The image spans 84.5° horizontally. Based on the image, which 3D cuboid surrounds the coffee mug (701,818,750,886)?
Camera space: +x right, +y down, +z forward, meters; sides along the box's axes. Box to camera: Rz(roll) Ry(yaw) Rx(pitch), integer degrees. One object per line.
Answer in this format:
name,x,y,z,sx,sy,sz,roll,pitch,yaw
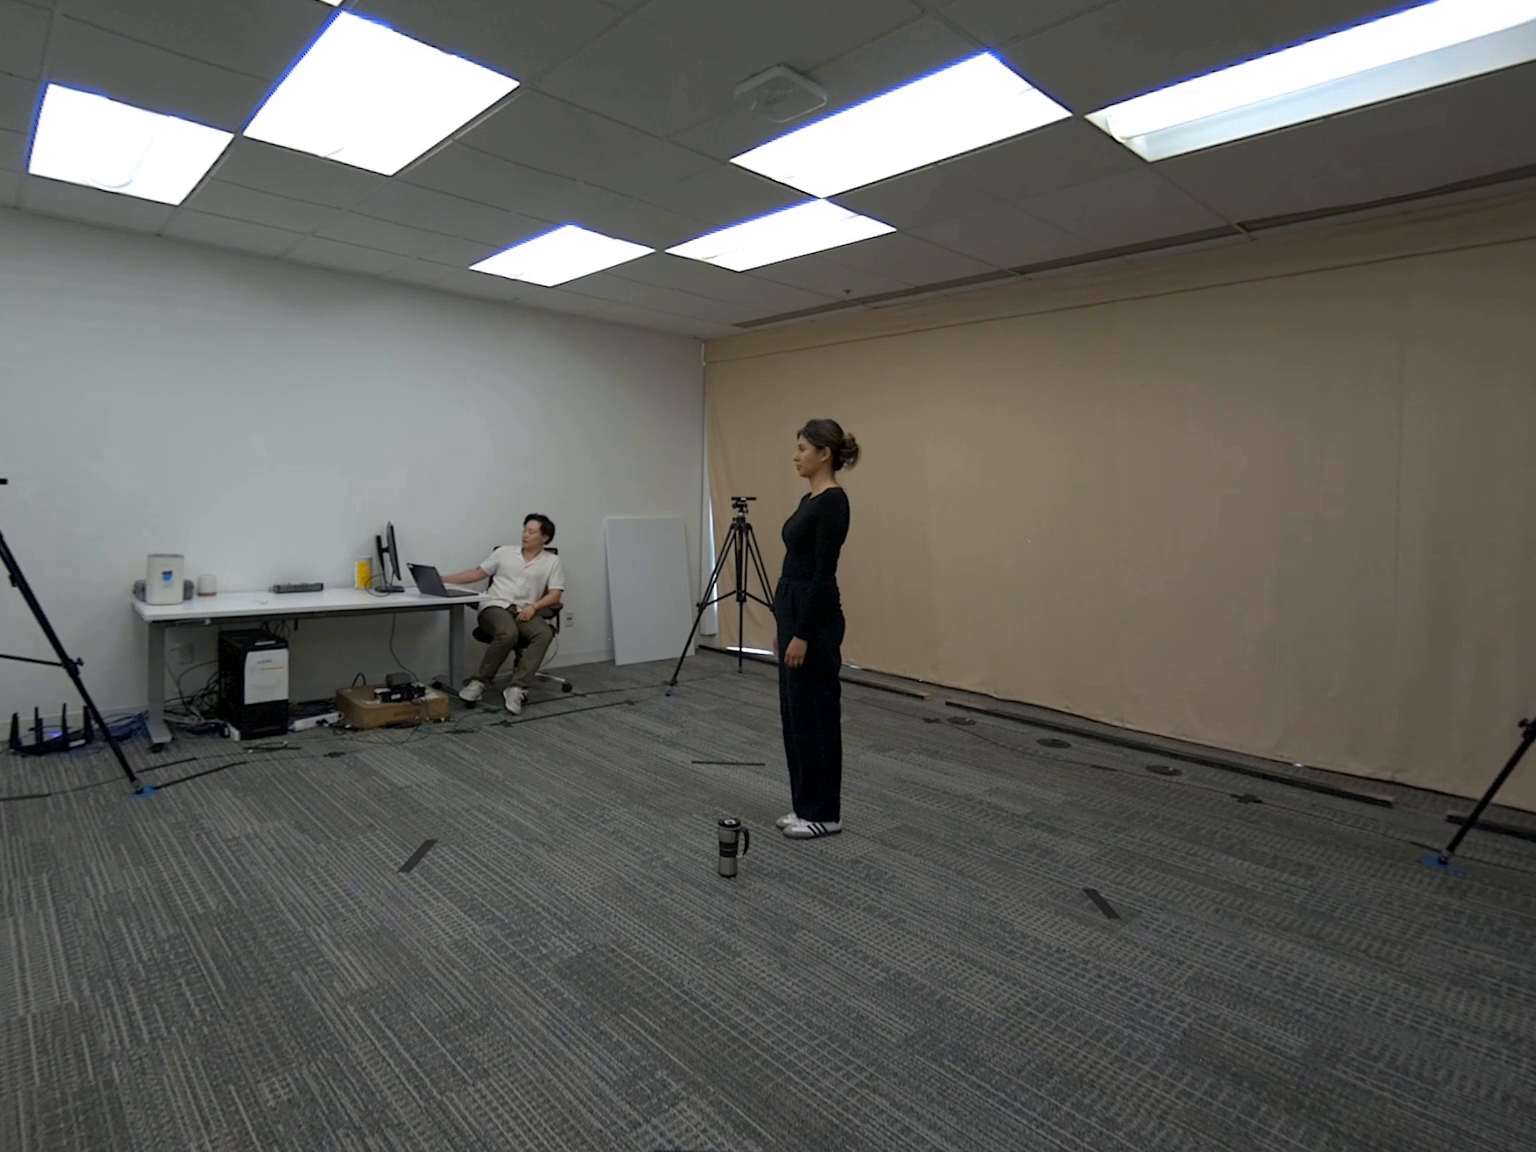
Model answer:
coffee mug,-0.160,1.009,3.103,0.119,0.202,0.090,6,4,-30
